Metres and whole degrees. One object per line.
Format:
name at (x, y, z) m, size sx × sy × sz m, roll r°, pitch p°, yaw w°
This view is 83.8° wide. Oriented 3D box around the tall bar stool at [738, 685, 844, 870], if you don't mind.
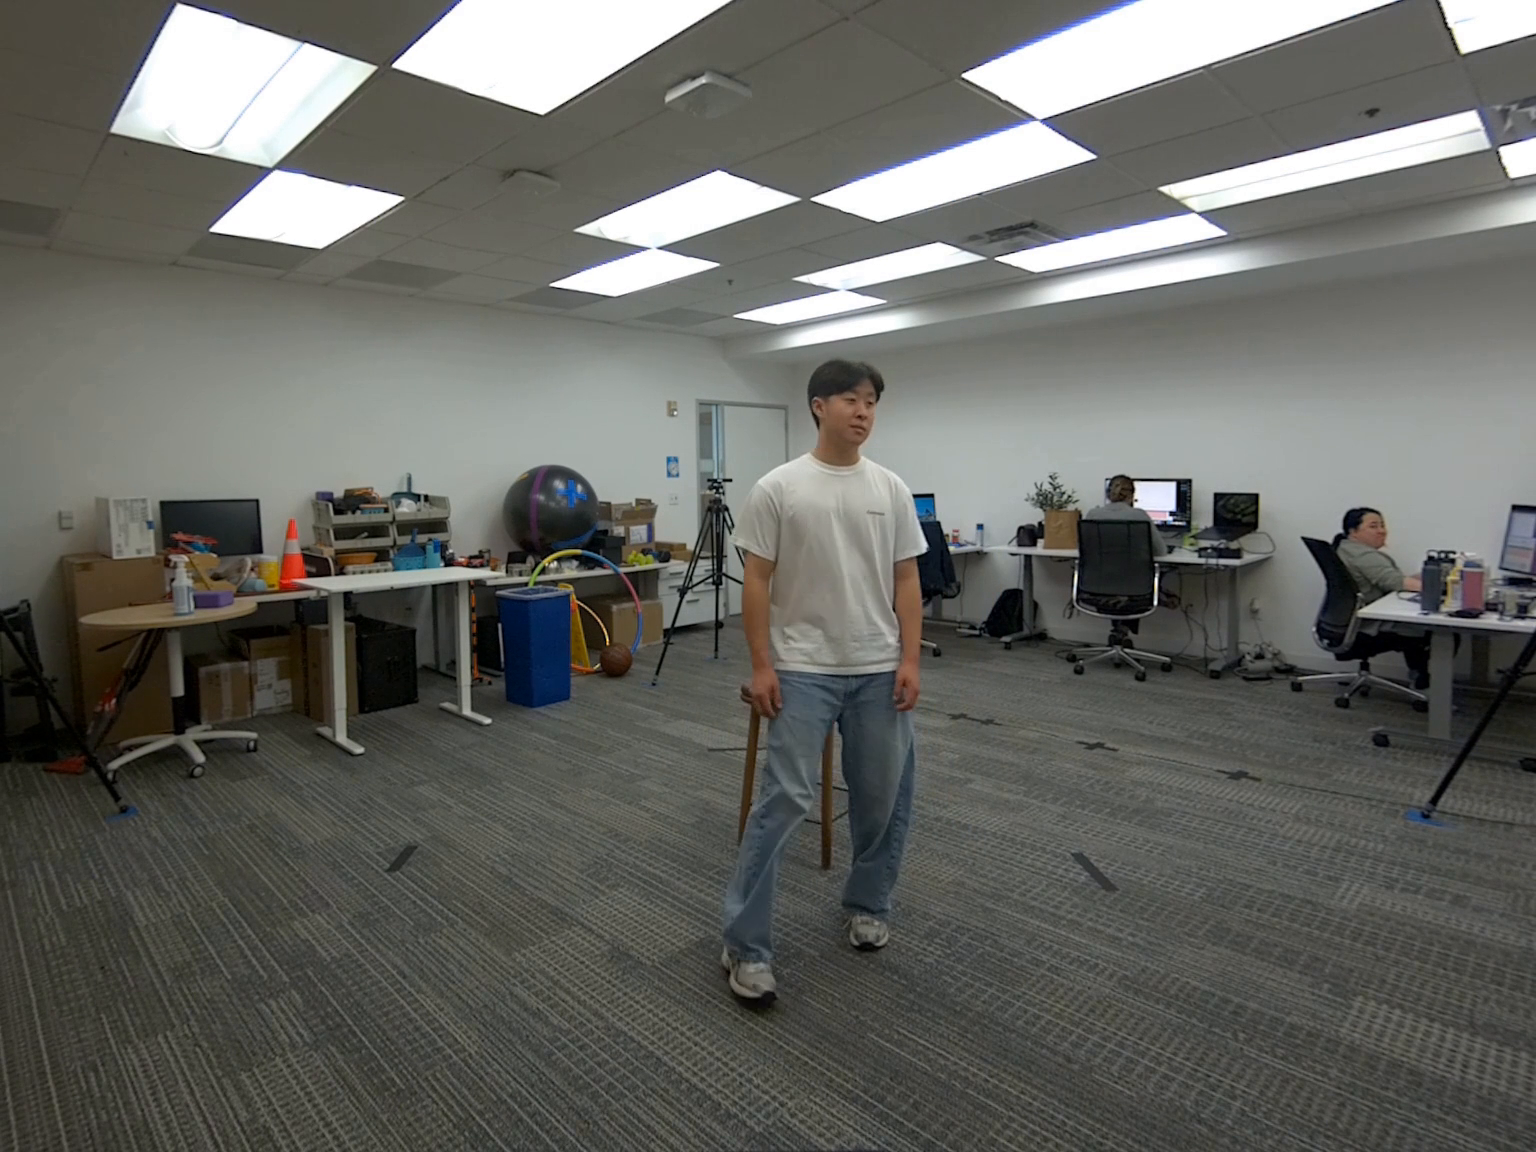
tall bar stool at (0.183, 0.583, 3.317) m, size 0.470 × 0.888 × 0.455 m, roll 3°, pitch 3°, yaw 38°
